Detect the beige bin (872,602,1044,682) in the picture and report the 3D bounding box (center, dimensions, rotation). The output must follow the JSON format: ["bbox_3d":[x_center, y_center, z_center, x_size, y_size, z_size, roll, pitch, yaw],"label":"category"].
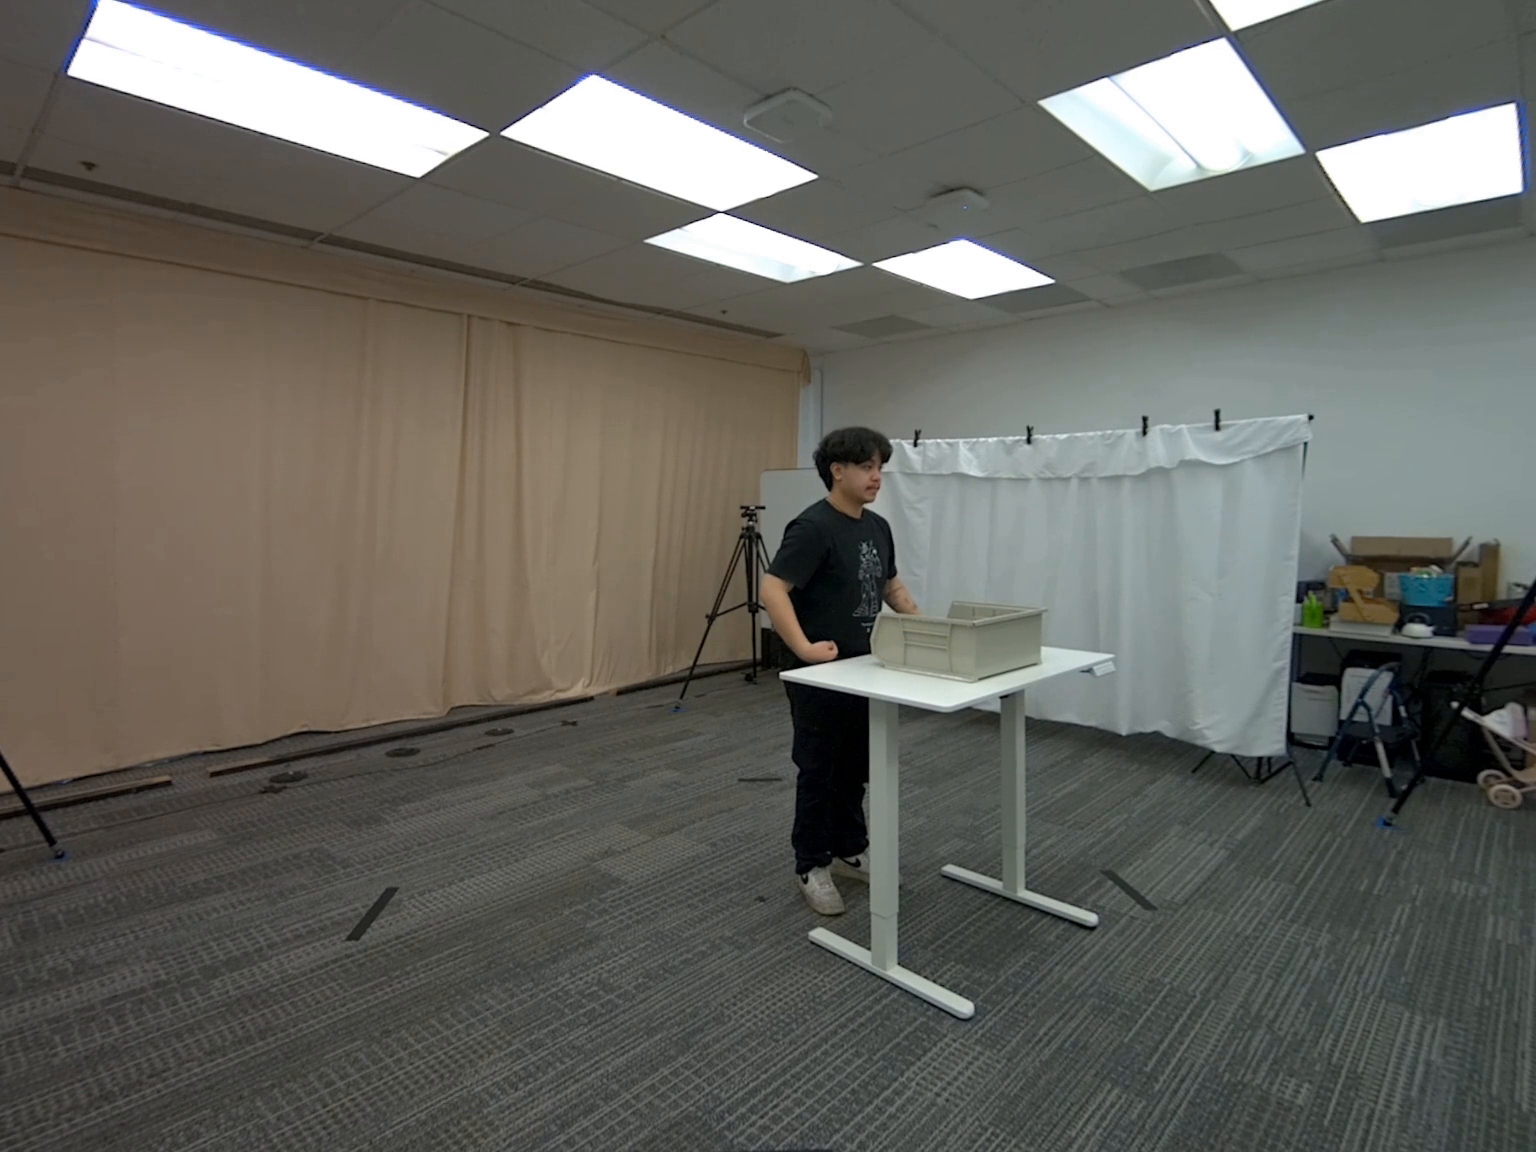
[{"bbox_3d":[0.610,0.198,2.668,0.409,0.188,0.390,-4,6,-43],"label":"beige bin"}]
